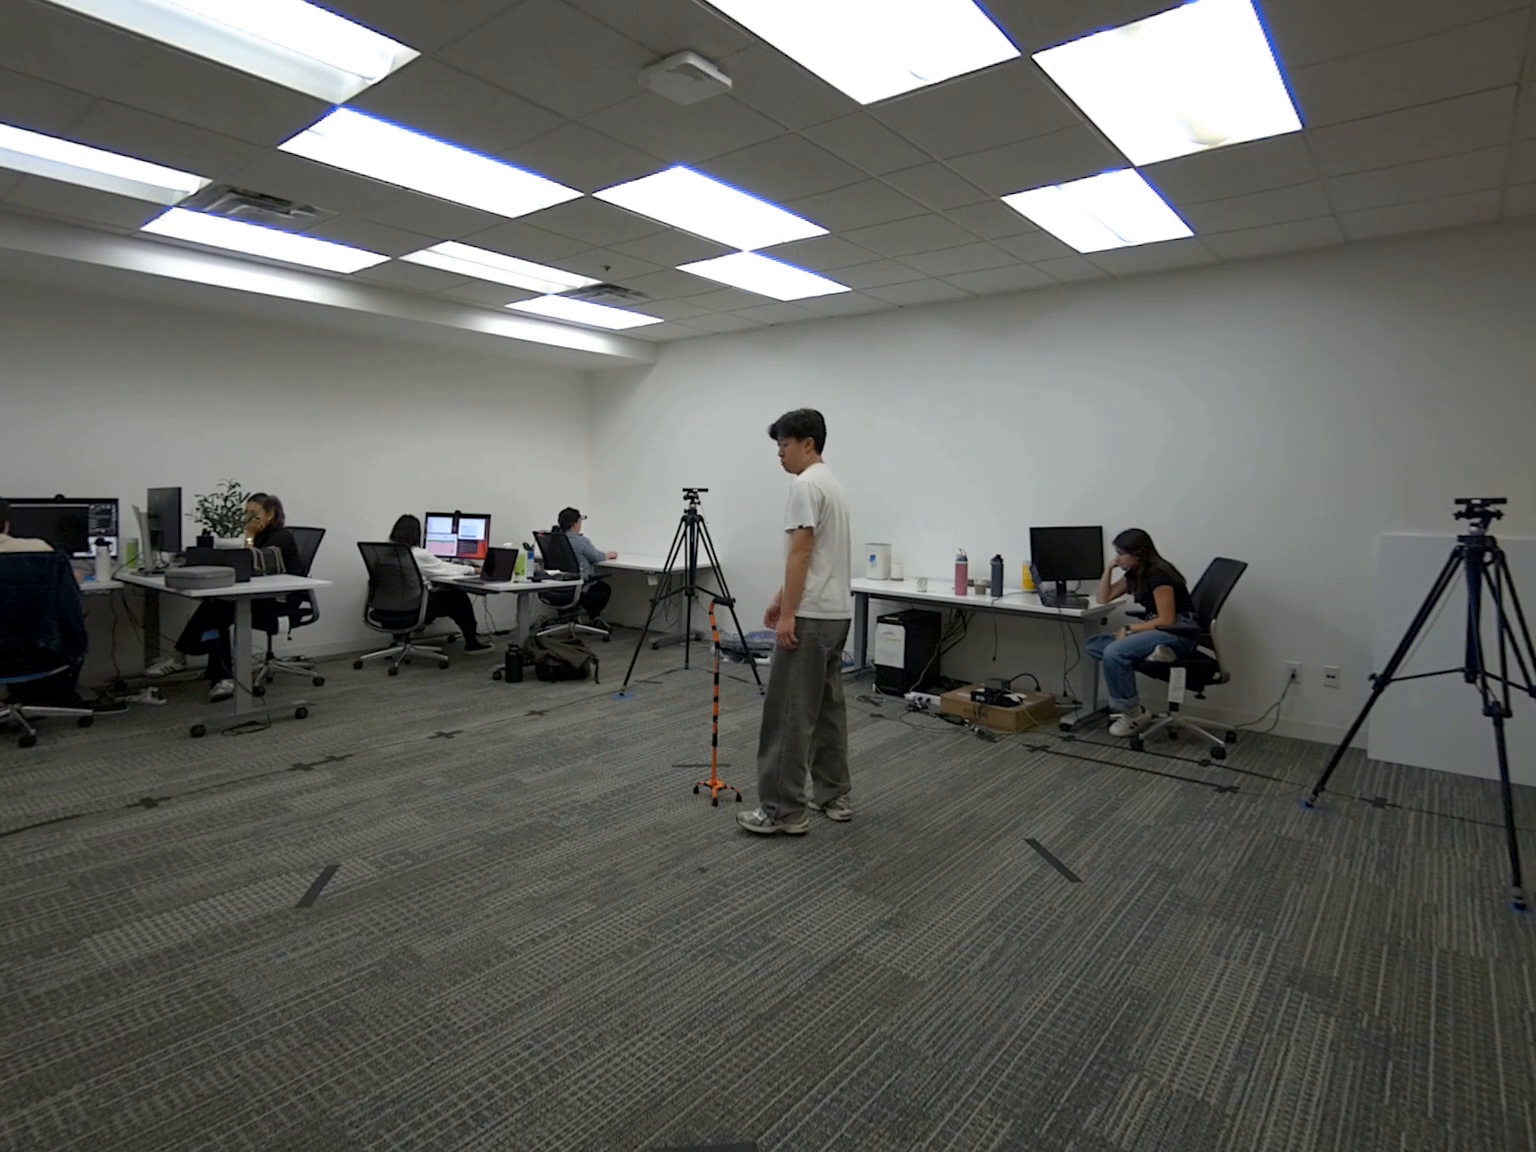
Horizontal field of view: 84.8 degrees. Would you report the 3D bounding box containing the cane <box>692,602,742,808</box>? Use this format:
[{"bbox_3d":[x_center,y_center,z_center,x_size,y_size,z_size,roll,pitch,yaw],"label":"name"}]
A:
[{"bbox_3d":[-0.219,0.539,3.838,0.147,0.905,0.213,0,3,-33],"label":"cane"}]
